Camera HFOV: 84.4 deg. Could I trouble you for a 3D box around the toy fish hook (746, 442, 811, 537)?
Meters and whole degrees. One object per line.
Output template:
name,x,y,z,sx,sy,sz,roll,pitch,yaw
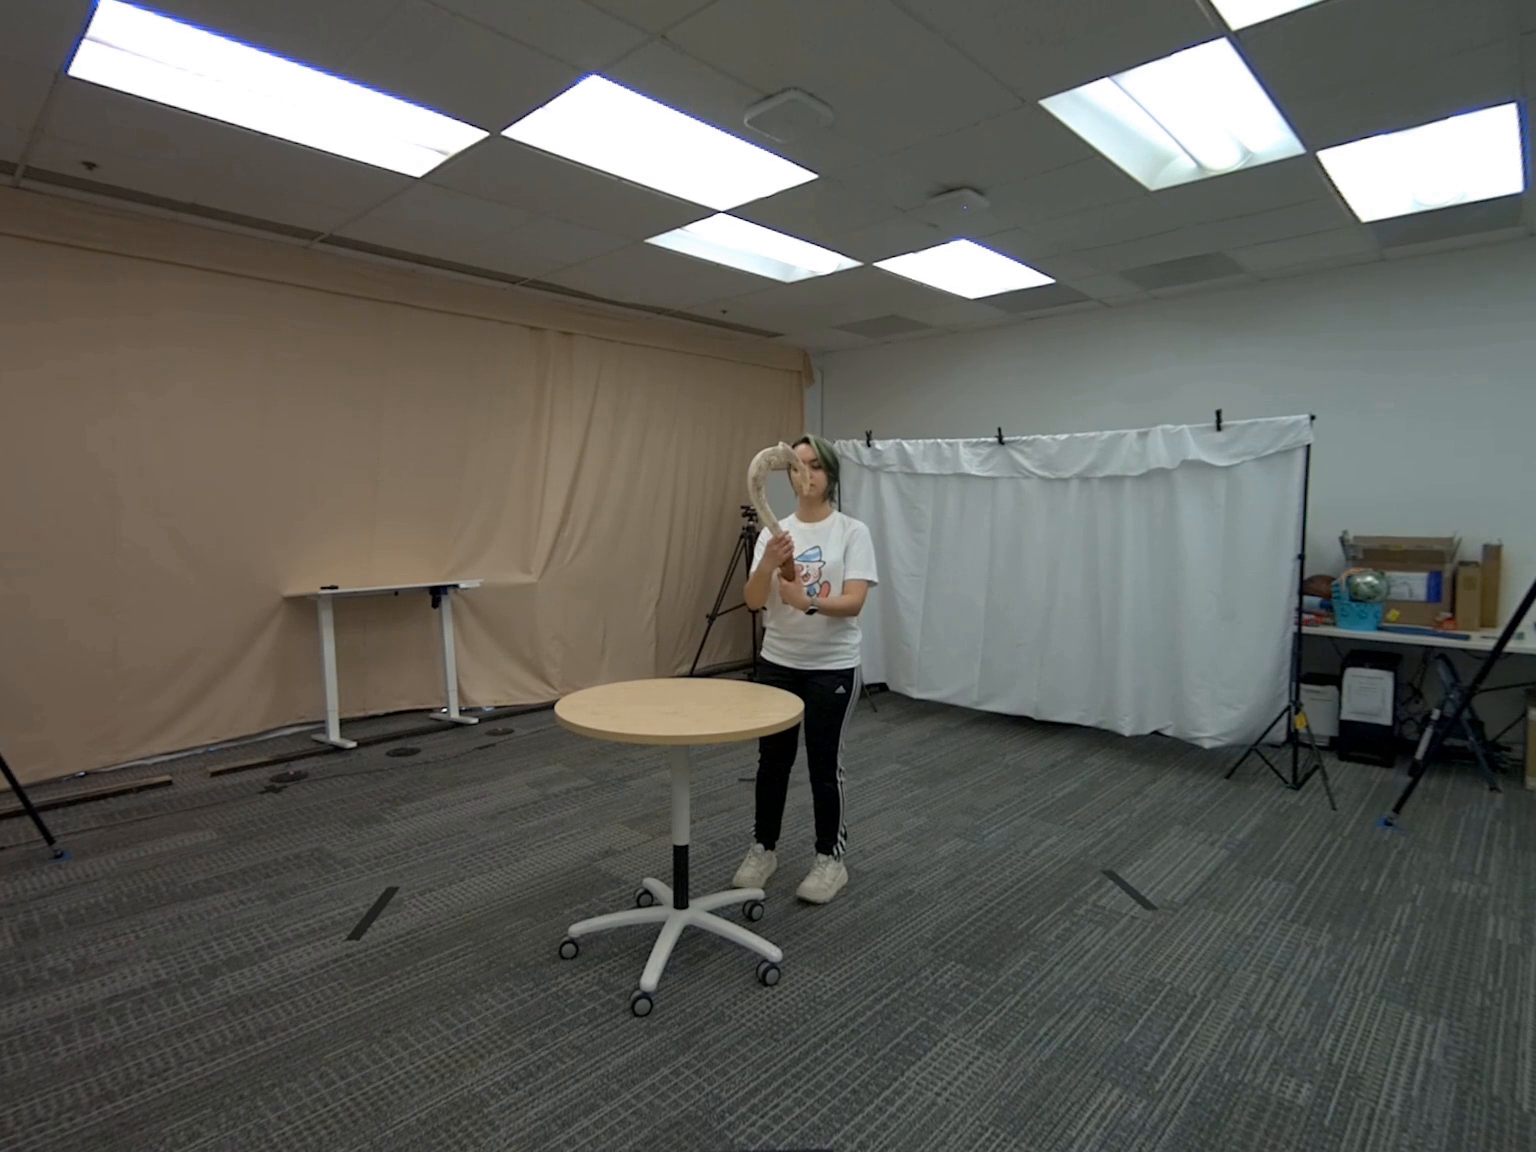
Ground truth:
toy fish hook,0.065,-0.181,2.711,0.222,0.496,0.050,-27,26,-21
